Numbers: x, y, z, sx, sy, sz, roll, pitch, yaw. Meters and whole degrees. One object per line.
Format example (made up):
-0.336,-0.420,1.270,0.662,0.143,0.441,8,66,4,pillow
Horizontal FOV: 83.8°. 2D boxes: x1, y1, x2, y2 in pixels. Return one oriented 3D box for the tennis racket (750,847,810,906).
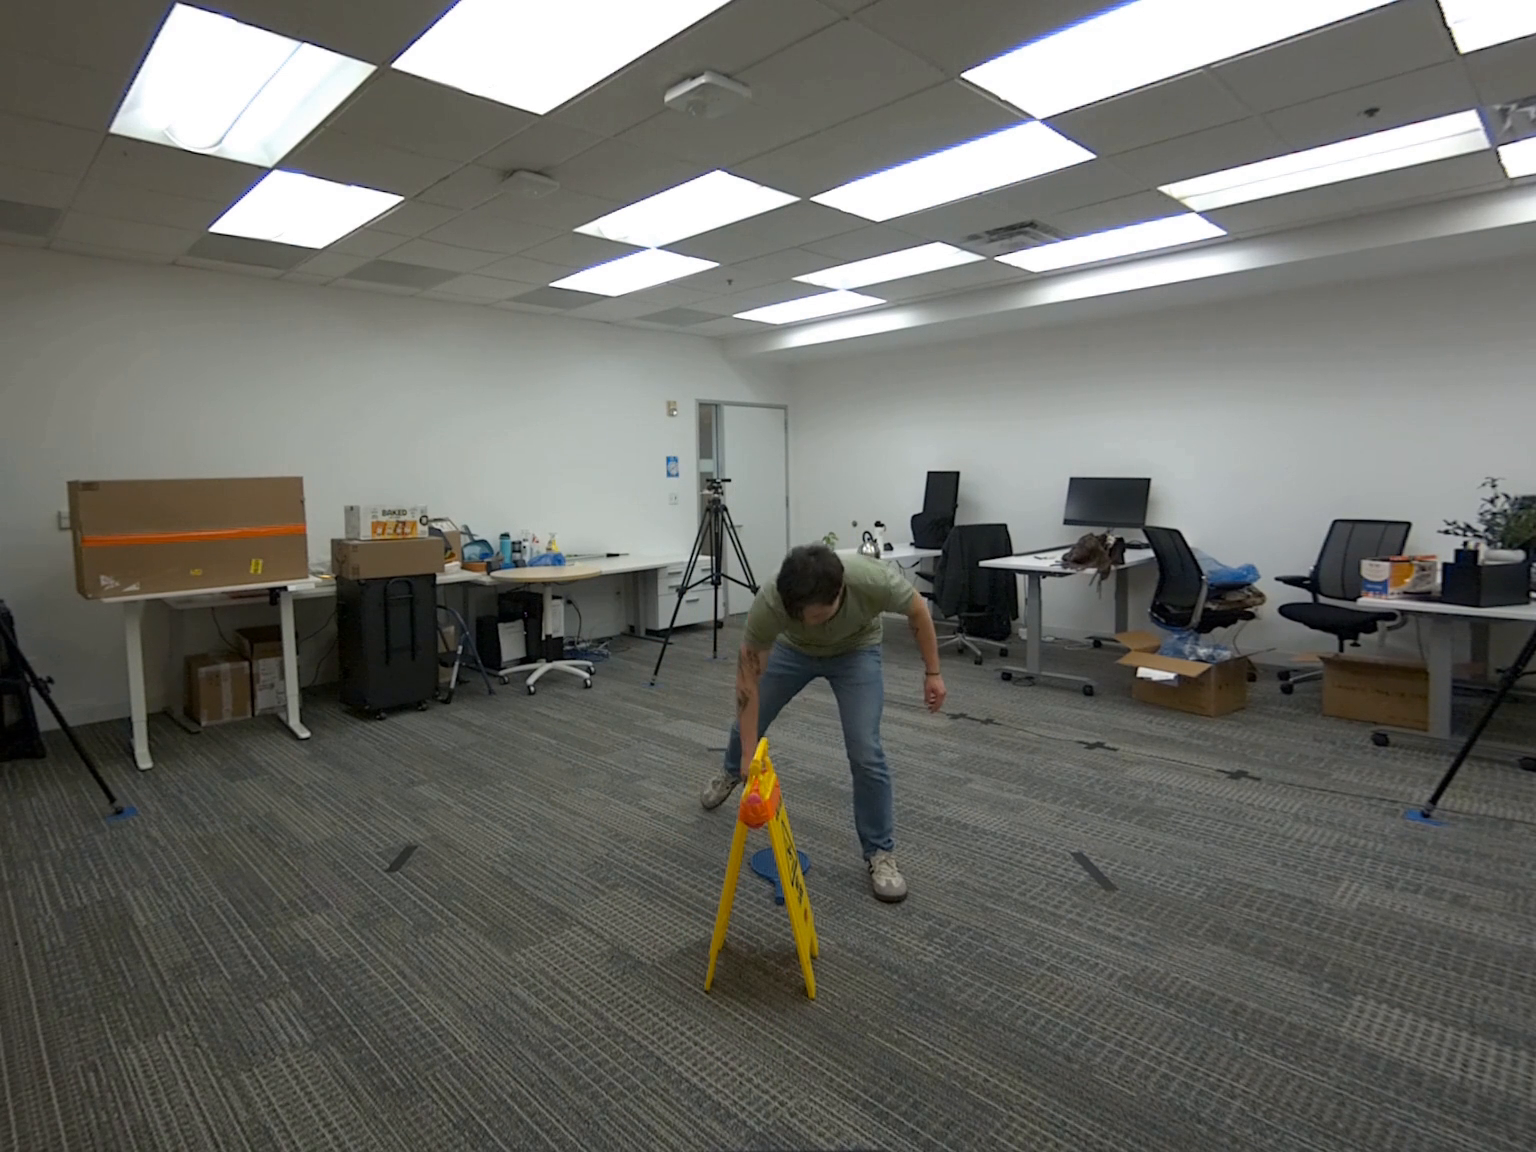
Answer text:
0.045,1.036,3.004,0.214,0.031,0.434,-1,5,0,tennis racket
